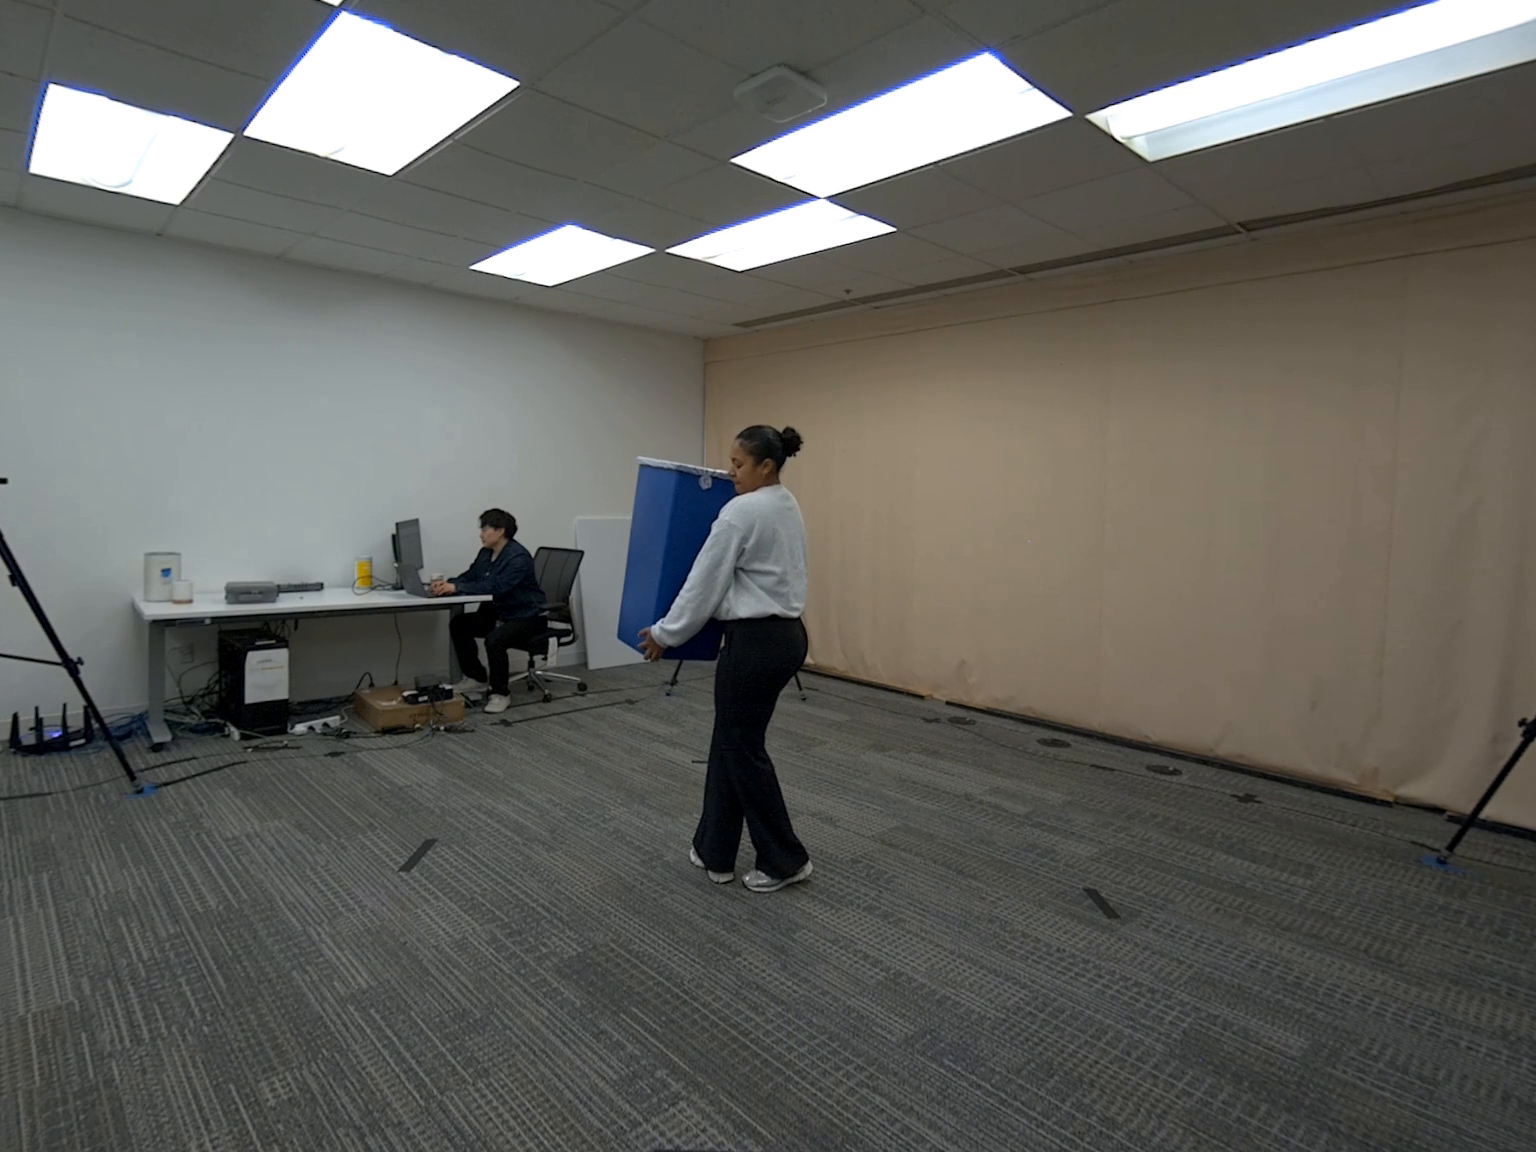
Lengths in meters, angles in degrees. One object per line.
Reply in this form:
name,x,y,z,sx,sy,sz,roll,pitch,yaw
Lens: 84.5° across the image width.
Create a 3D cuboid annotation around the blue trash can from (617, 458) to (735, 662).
blue trash can,-0.333,-0.070,3.246,0.365,0.712,0.388,8,5,-35
